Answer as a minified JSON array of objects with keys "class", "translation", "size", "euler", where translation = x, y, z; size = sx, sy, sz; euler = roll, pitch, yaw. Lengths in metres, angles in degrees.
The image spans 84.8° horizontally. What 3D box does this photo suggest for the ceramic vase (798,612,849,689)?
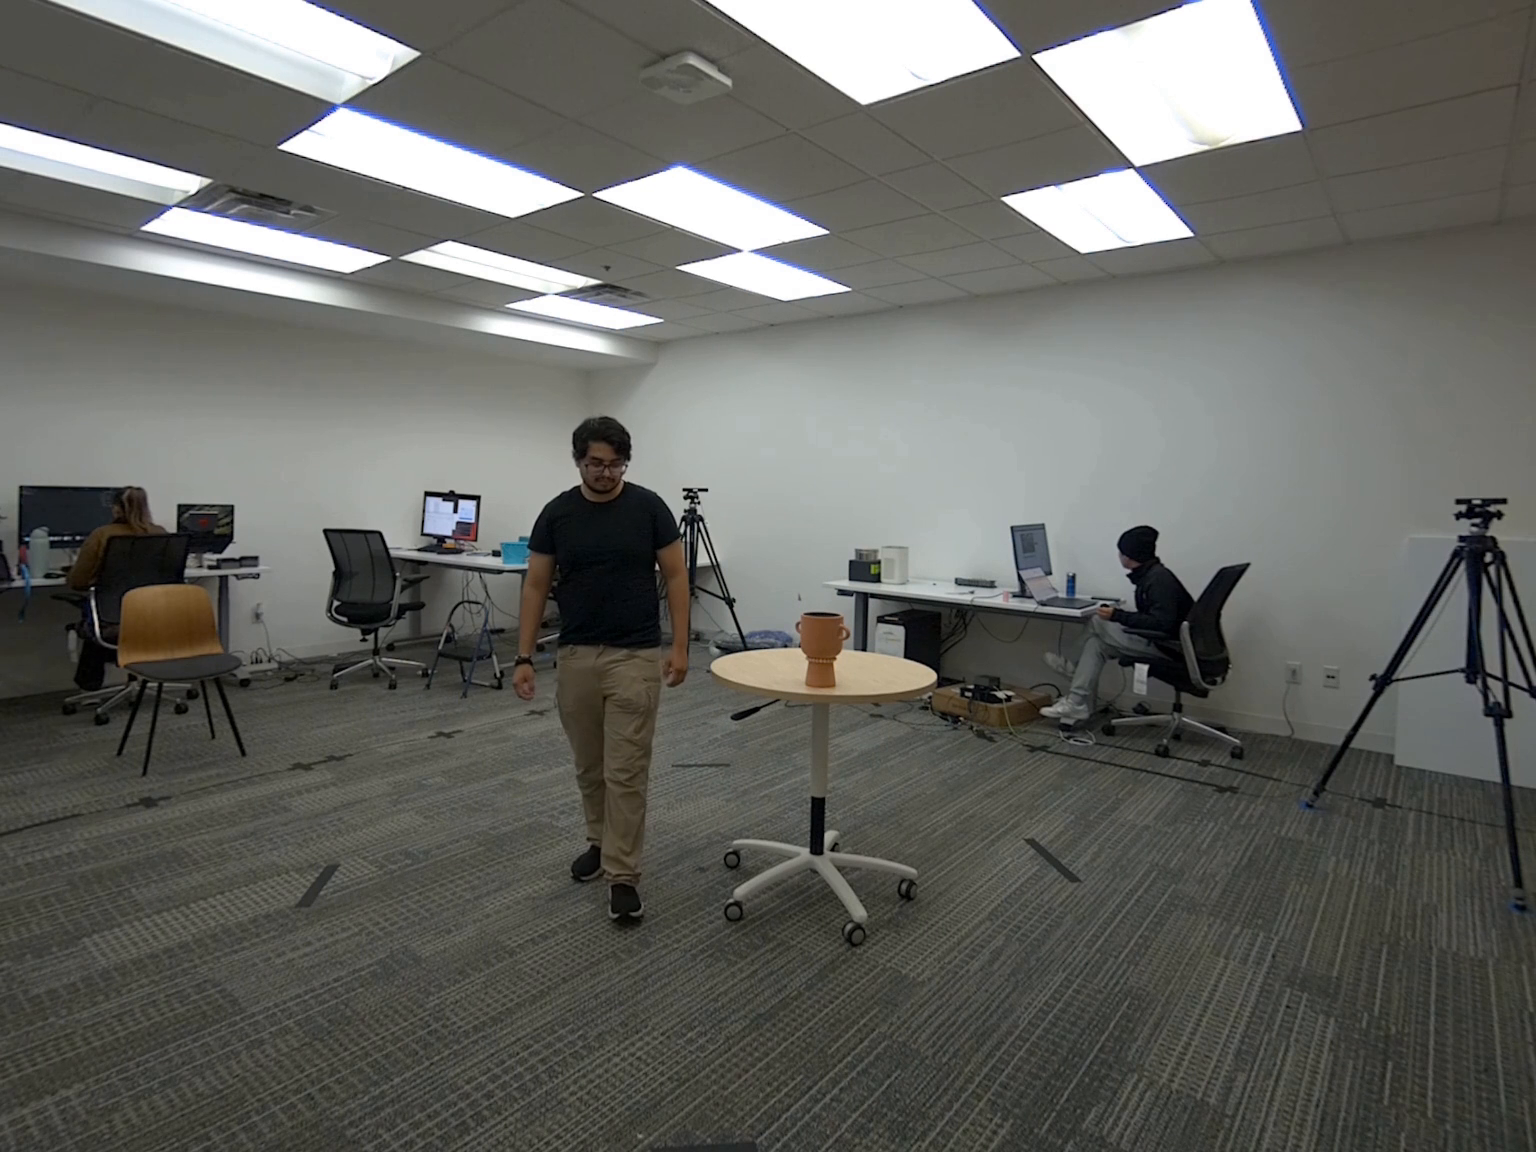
[{"class":"ceramic vase","translation":[0.161,0.230,2.662],"size":[0.132,0.219,0.162],"euler":[2,3,-15]}]
